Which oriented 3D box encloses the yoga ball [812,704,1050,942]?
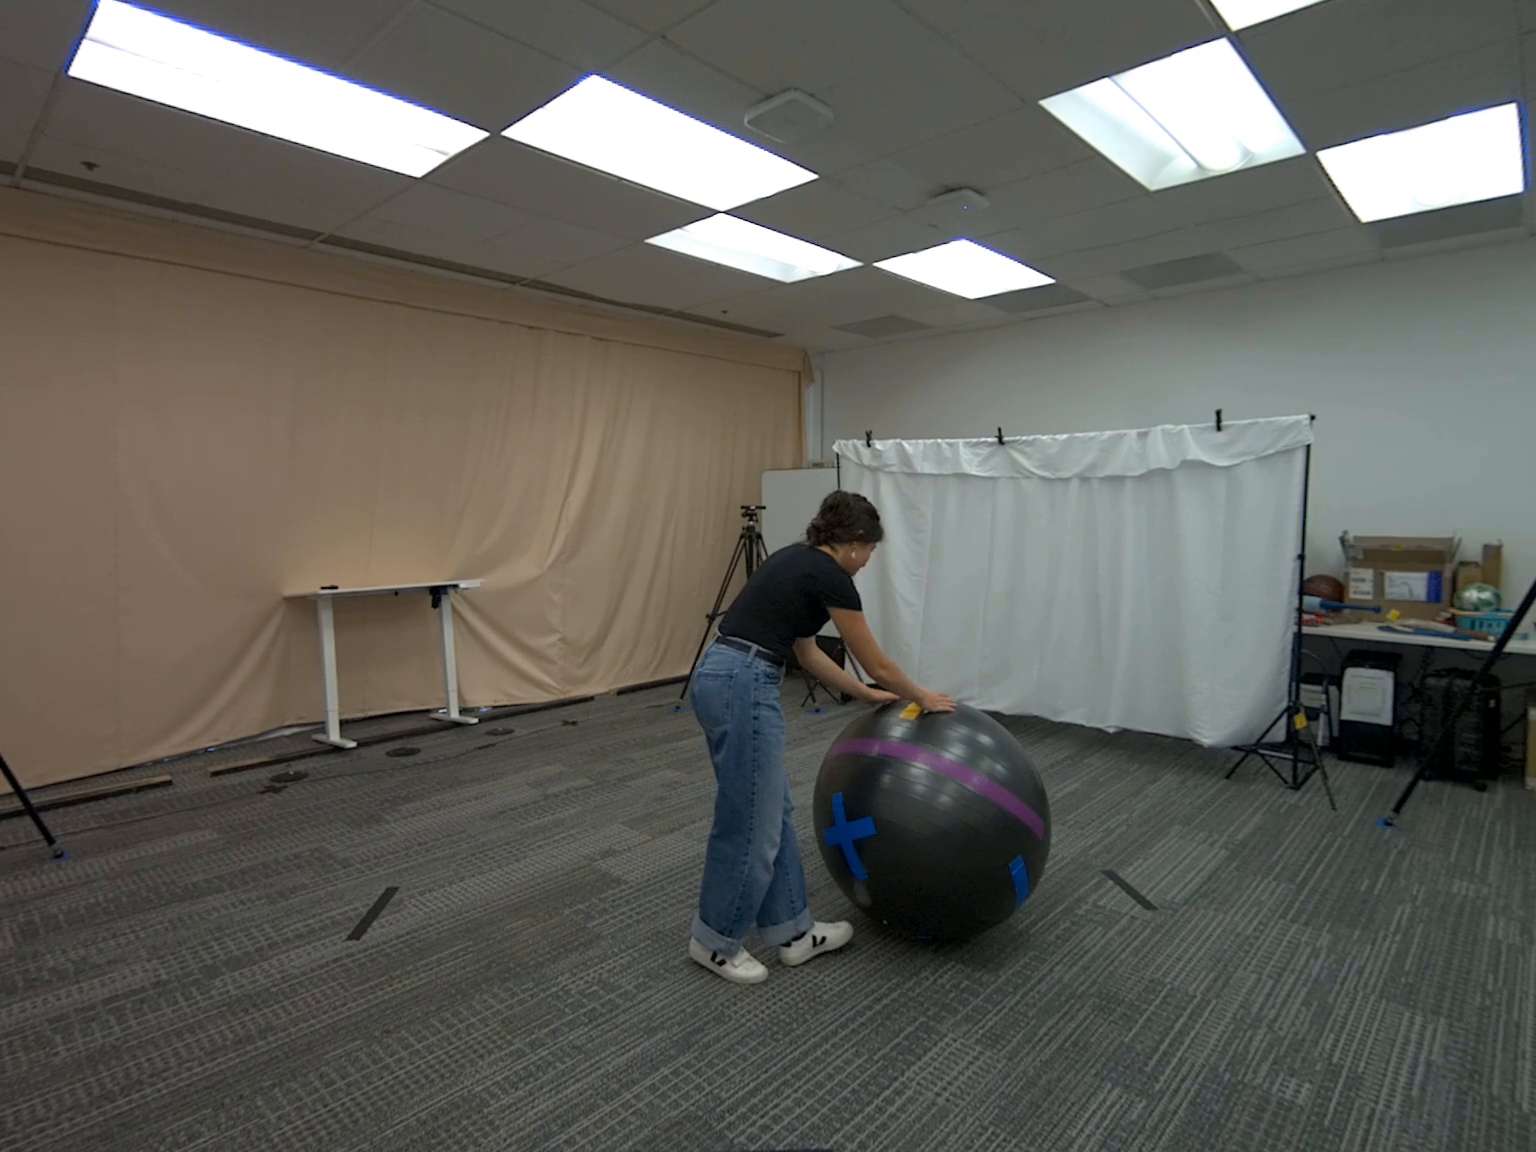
[{"bbox_3d":[0.540,0.788,2.771,0.757,0.756,0.760,0,4,-2],"label":"yoga ball"}]
